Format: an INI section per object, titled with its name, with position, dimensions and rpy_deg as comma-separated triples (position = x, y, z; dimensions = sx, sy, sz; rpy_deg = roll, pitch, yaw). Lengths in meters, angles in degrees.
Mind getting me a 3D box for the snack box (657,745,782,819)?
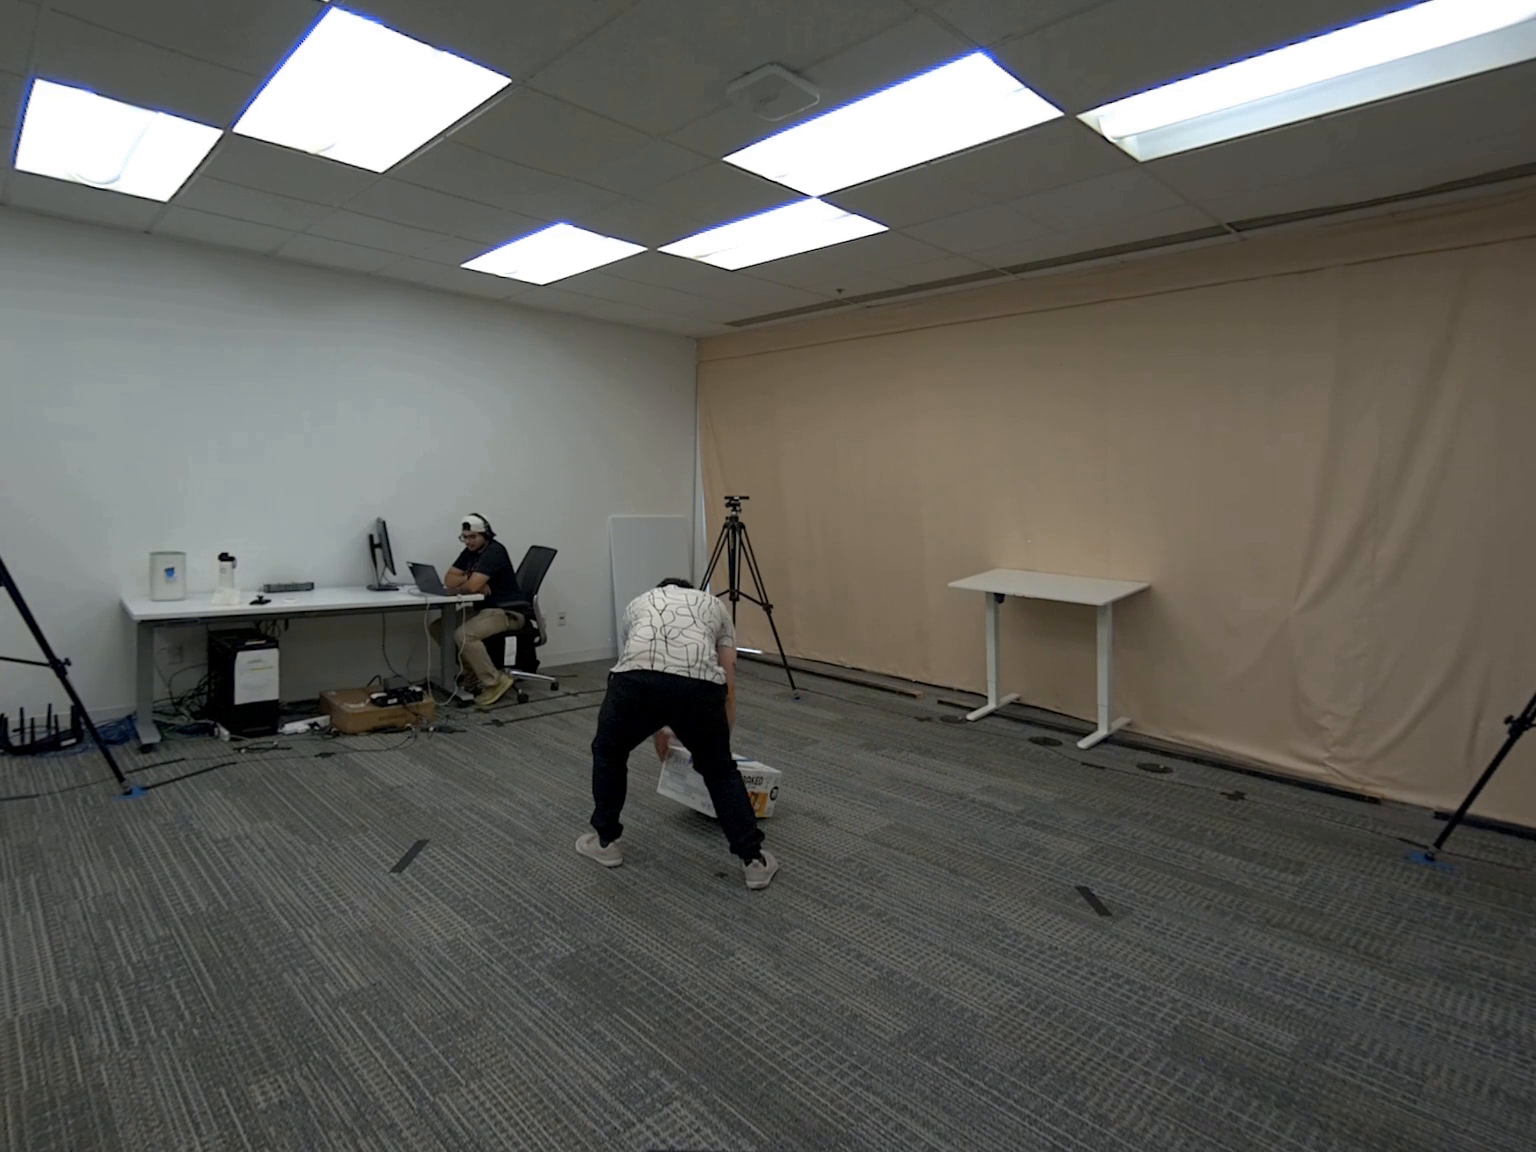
[snack box]
position = -0.218, 0.901, 3.663
dimensions = 0.349, 0.206, 0.393
rpy_deg = 9, -6, 39
